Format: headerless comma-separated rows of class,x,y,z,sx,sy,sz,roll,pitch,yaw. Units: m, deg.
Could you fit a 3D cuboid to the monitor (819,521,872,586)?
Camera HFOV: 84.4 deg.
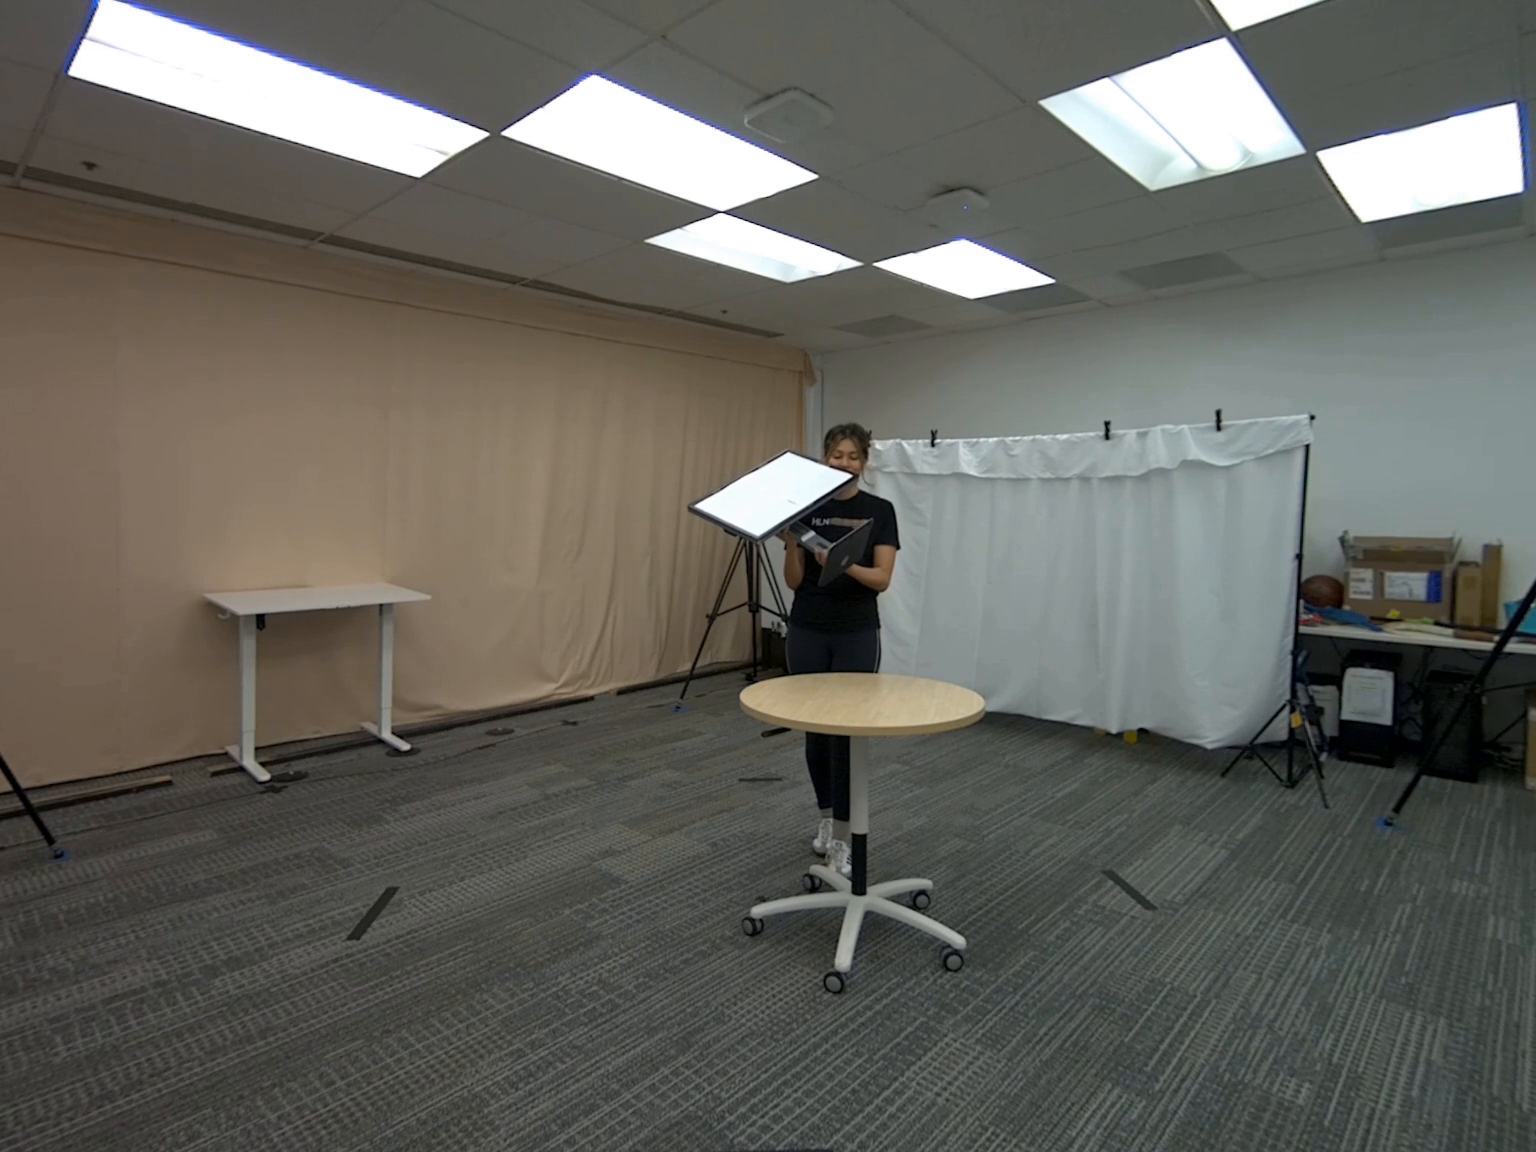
monitor,0.088,-0.241,3.100,0.530,0.184,0.540,-32,54,-32
